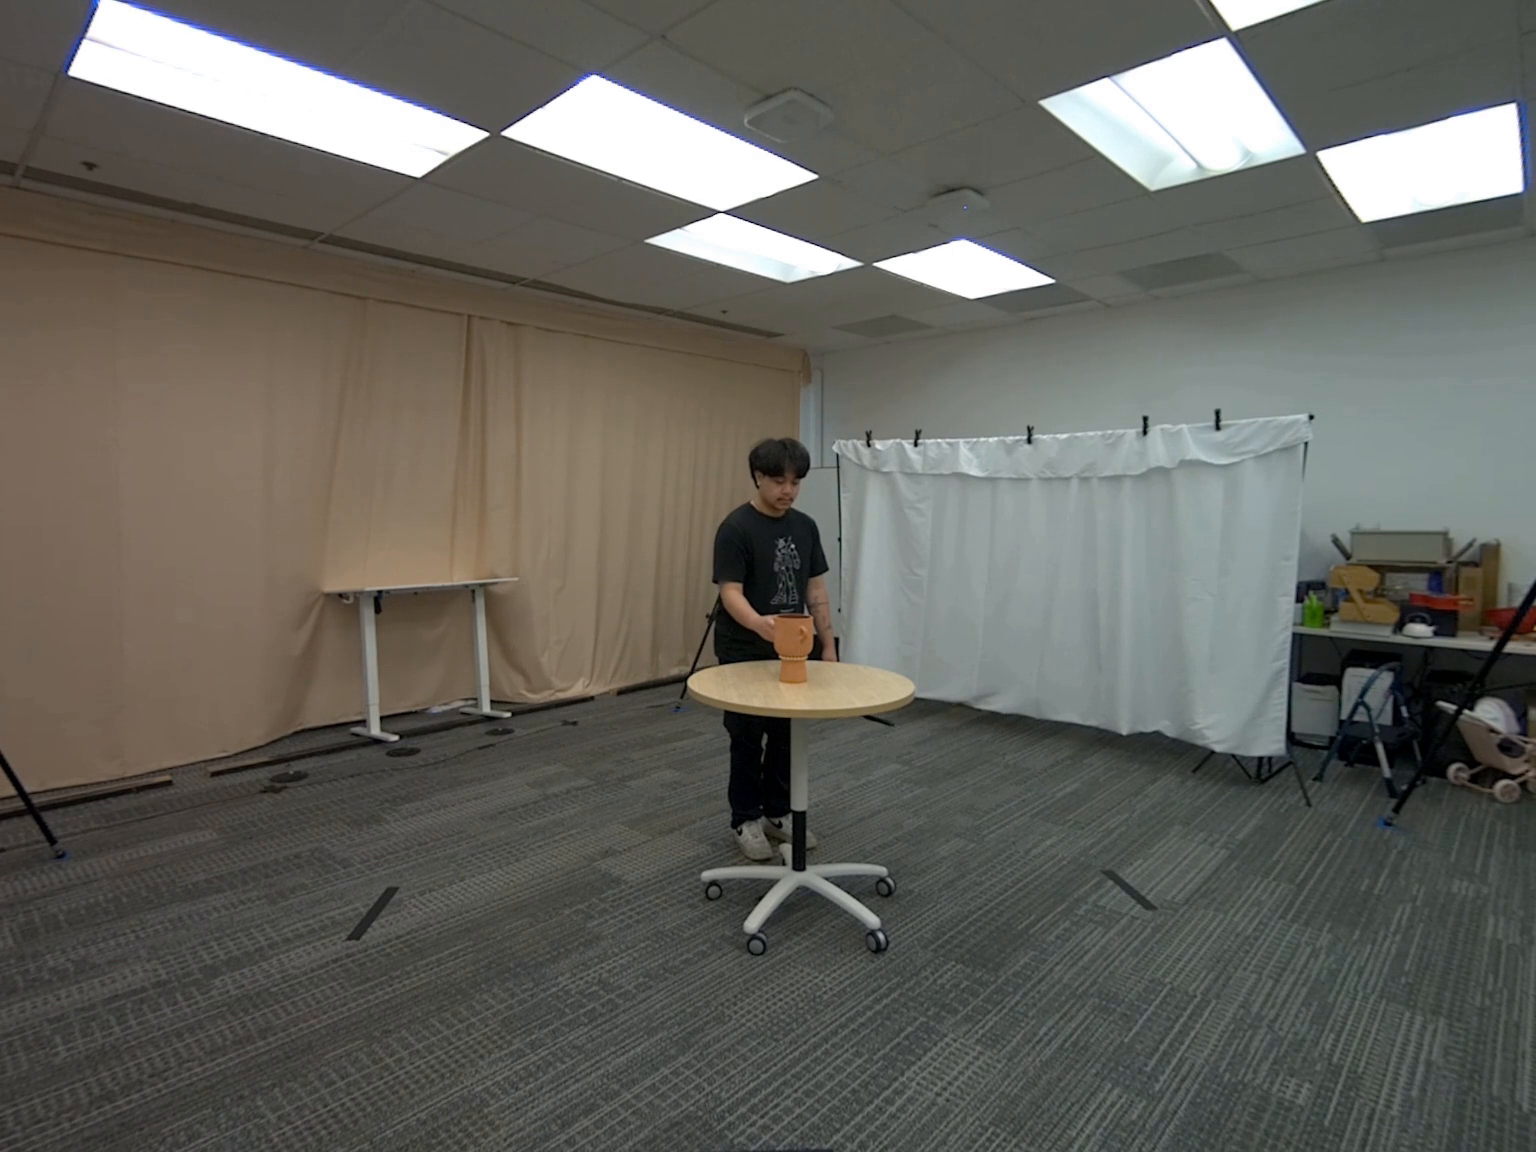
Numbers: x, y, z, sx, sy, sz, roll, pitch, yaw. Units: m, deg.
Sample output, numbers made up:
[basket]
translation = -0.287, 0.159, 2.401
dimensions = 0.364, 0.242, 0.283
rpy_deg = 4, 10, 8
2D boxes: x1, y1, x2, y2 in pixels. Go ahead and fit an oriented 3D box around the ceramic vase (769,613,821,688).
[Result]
[ceramic vase]
translation = 0.093, 0.246, 2.877
dimensions = 0.137, 0.219, 0.156
rpy_deg = 3, 4, 18
